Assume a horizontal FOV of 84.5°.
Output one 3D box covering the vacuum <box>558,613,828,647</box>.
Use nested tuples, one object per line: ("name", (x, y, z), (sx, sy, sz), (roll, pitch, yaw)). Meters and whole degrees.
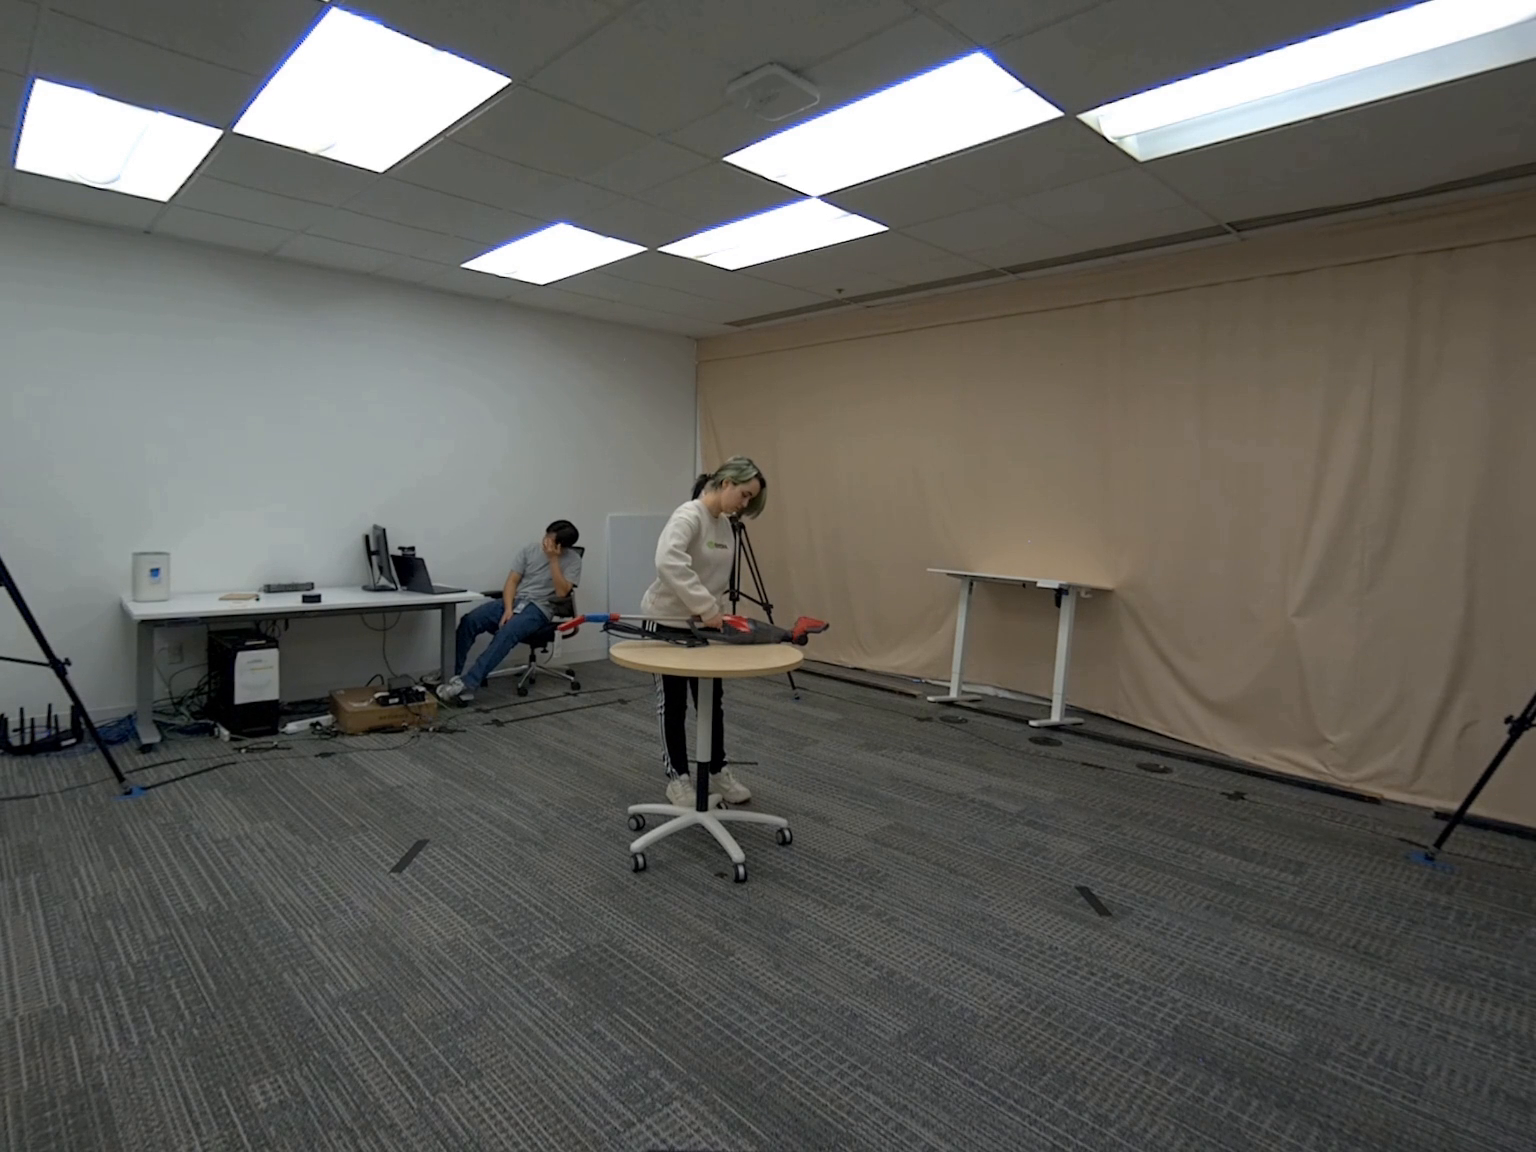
("vacuum", (-0.322, 0.237, 3.457), (1.033, 0.144, 0.257), (1, 4, -21))
